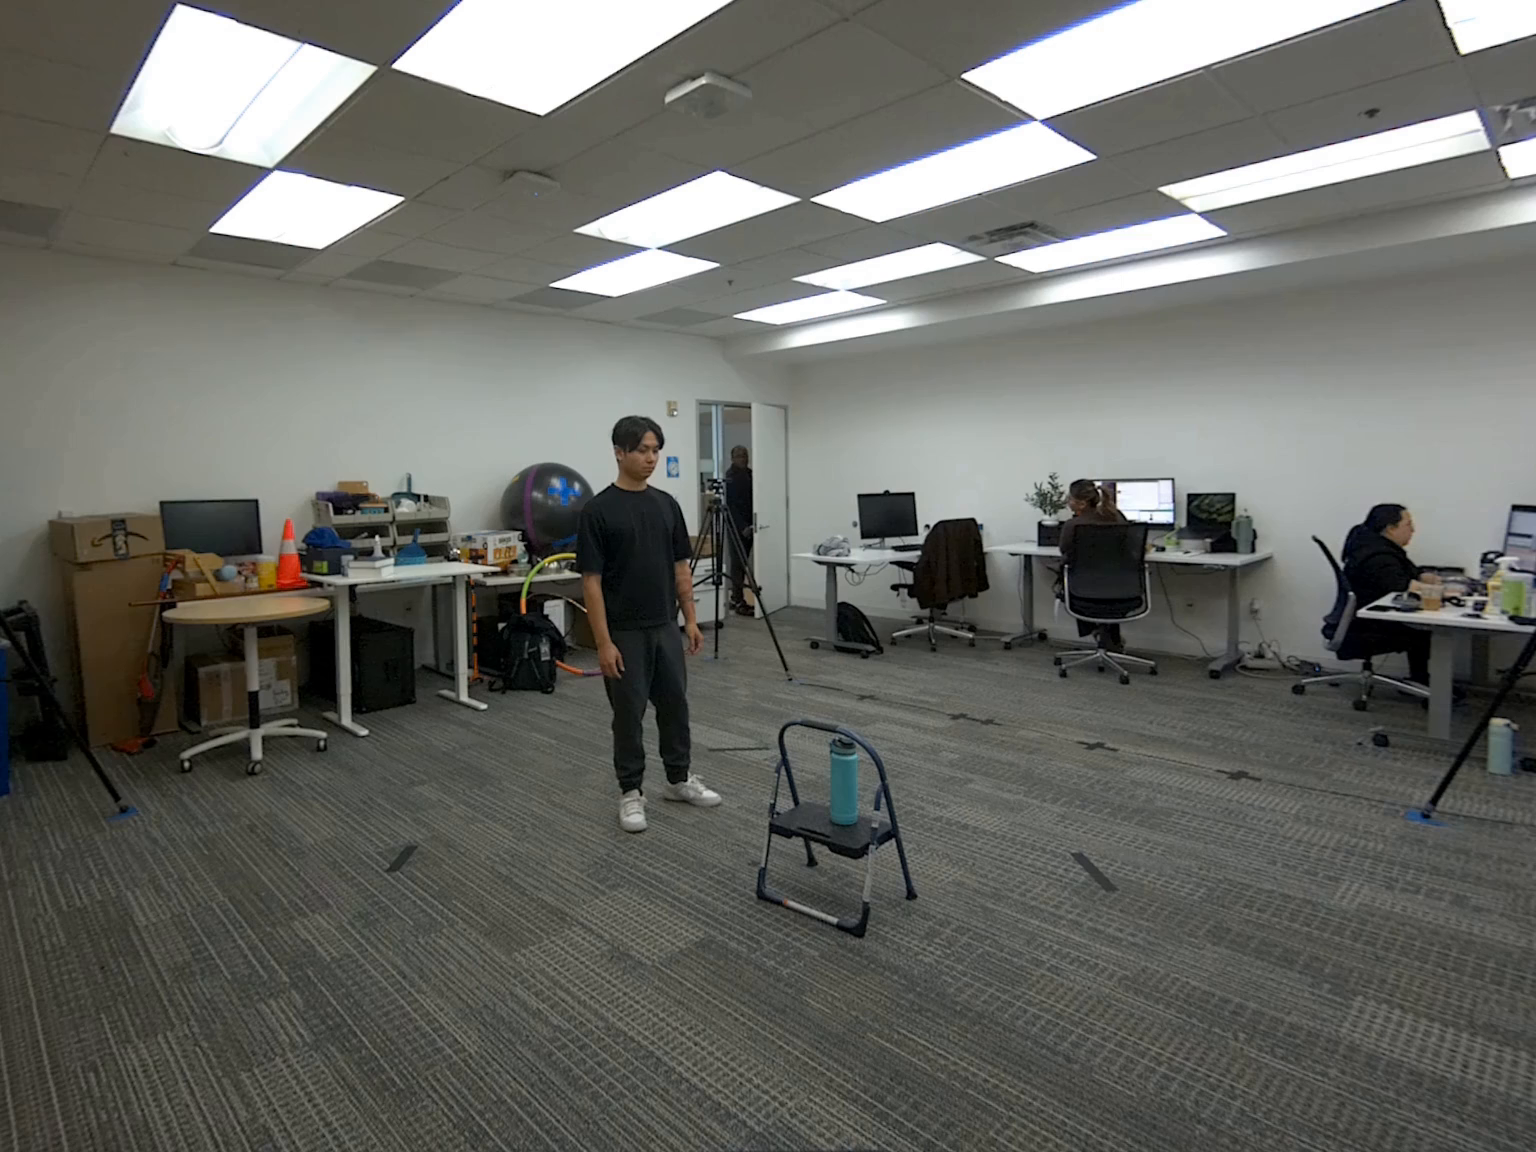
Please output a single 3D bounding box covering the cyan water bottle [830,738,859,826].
[{"bbox_3d":[0.253,0.669,2.834,0.092,0.283,0.092,-1,1,-2],"label":"cyan water bottle"}]
